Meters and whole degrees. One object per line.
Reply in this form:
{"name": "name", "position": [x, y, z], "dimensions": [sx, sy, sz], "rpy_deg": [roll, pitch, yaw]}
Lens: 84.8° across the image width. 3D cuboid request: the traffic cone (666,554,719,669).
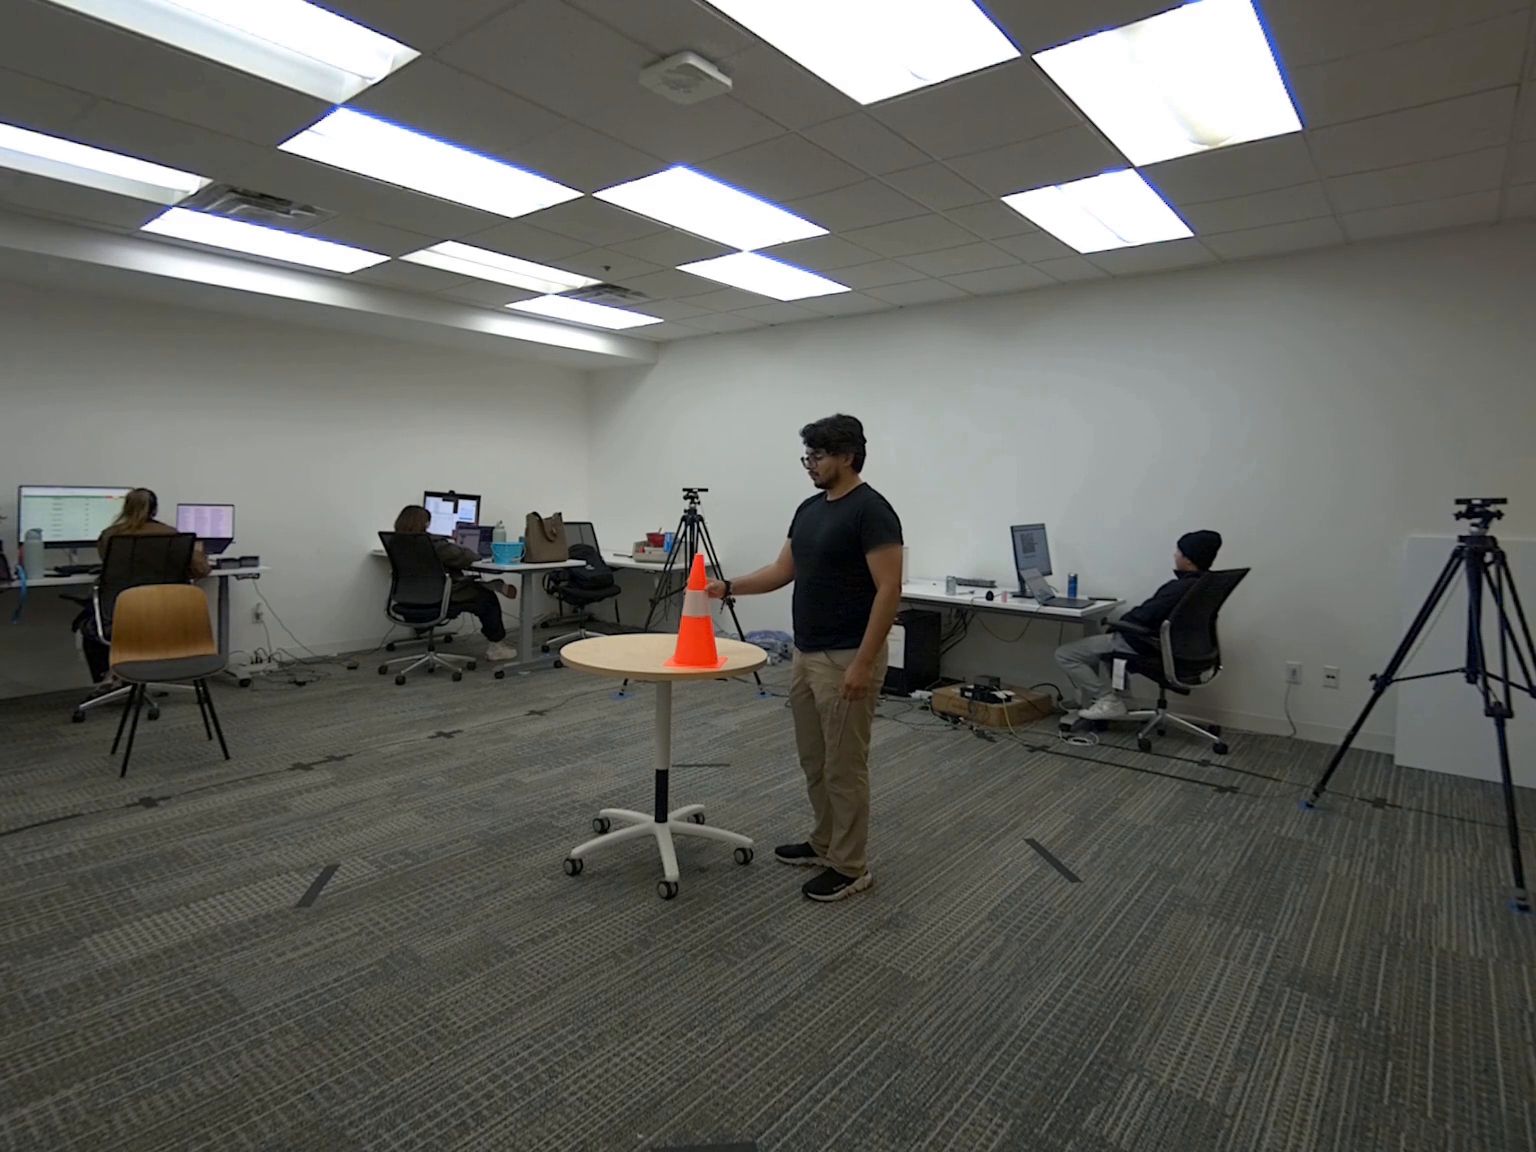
{"name": "traffic cone", "position": [-0.254, 0.113, 2.971], "dimensions": [0.202, 0.381, 0.208], "rpy_deg": [-1, 8, -16]}
